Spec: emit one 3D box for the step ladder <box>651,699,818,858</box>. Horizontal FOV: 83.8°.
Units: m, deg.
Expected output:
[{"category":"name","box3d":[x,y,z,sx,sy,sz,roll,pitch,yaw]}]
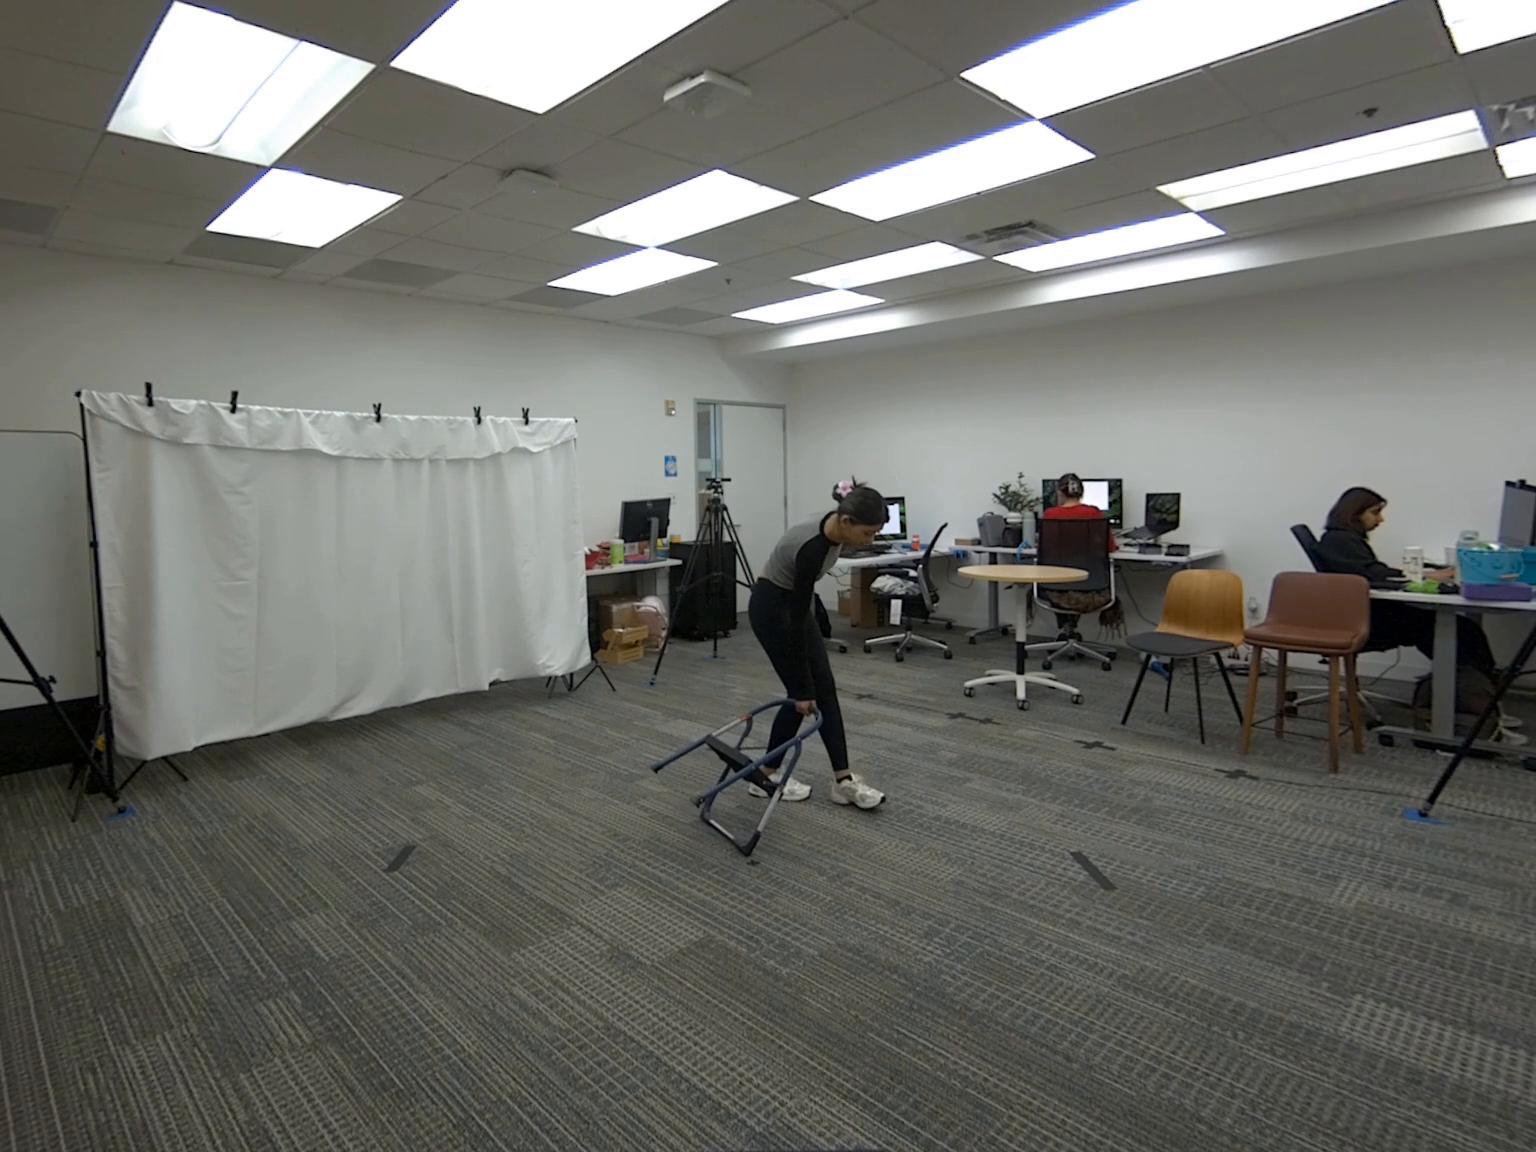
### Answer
[{"category":"step ladder","box3d":[-0.079,0.692,3.369,0.606,0.340,0.442,-47,24,-17]}]
